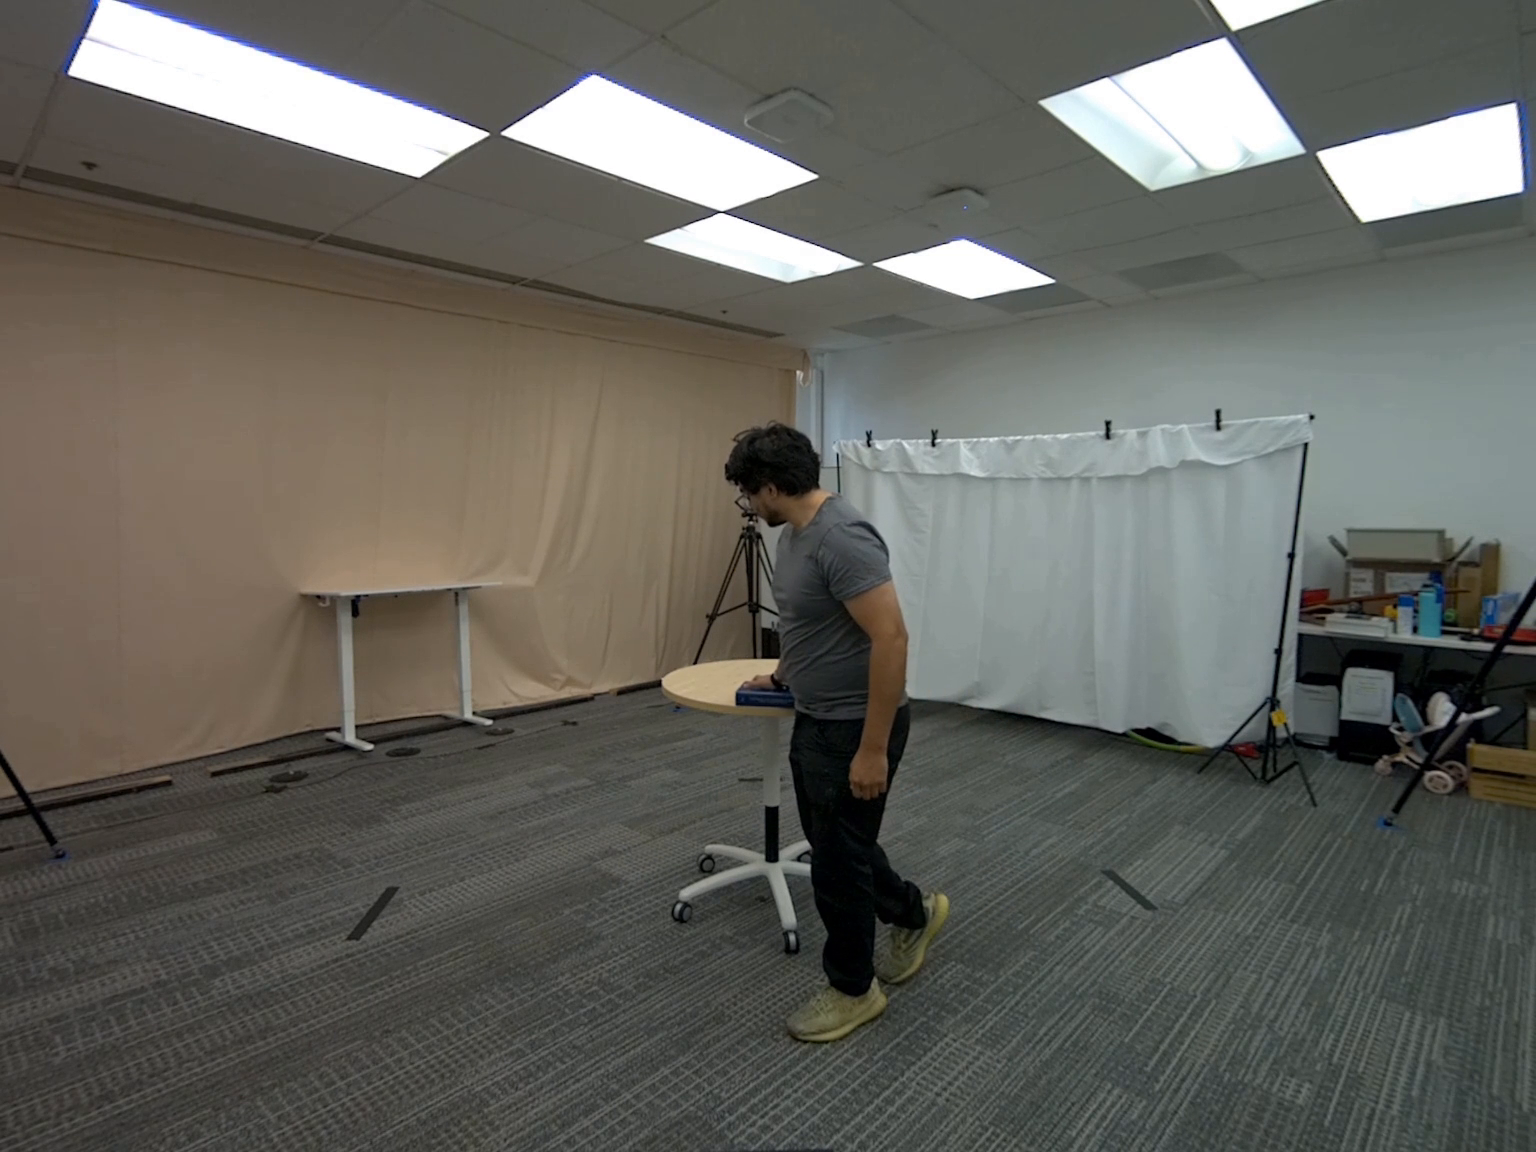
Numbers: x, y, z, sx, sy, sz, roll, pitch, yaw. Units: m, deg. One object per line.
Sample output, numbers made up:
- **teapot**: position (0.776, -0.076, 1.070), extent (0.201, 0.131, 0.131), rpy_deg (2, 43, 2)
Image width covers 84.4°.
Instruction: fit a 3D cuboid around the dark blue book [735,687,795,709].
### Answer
- **dark blue book**: position (0.041, 0.373, 2.625), extent (0.248, 0.045, 0.162), rpy_deg (-2, 5, 9)
